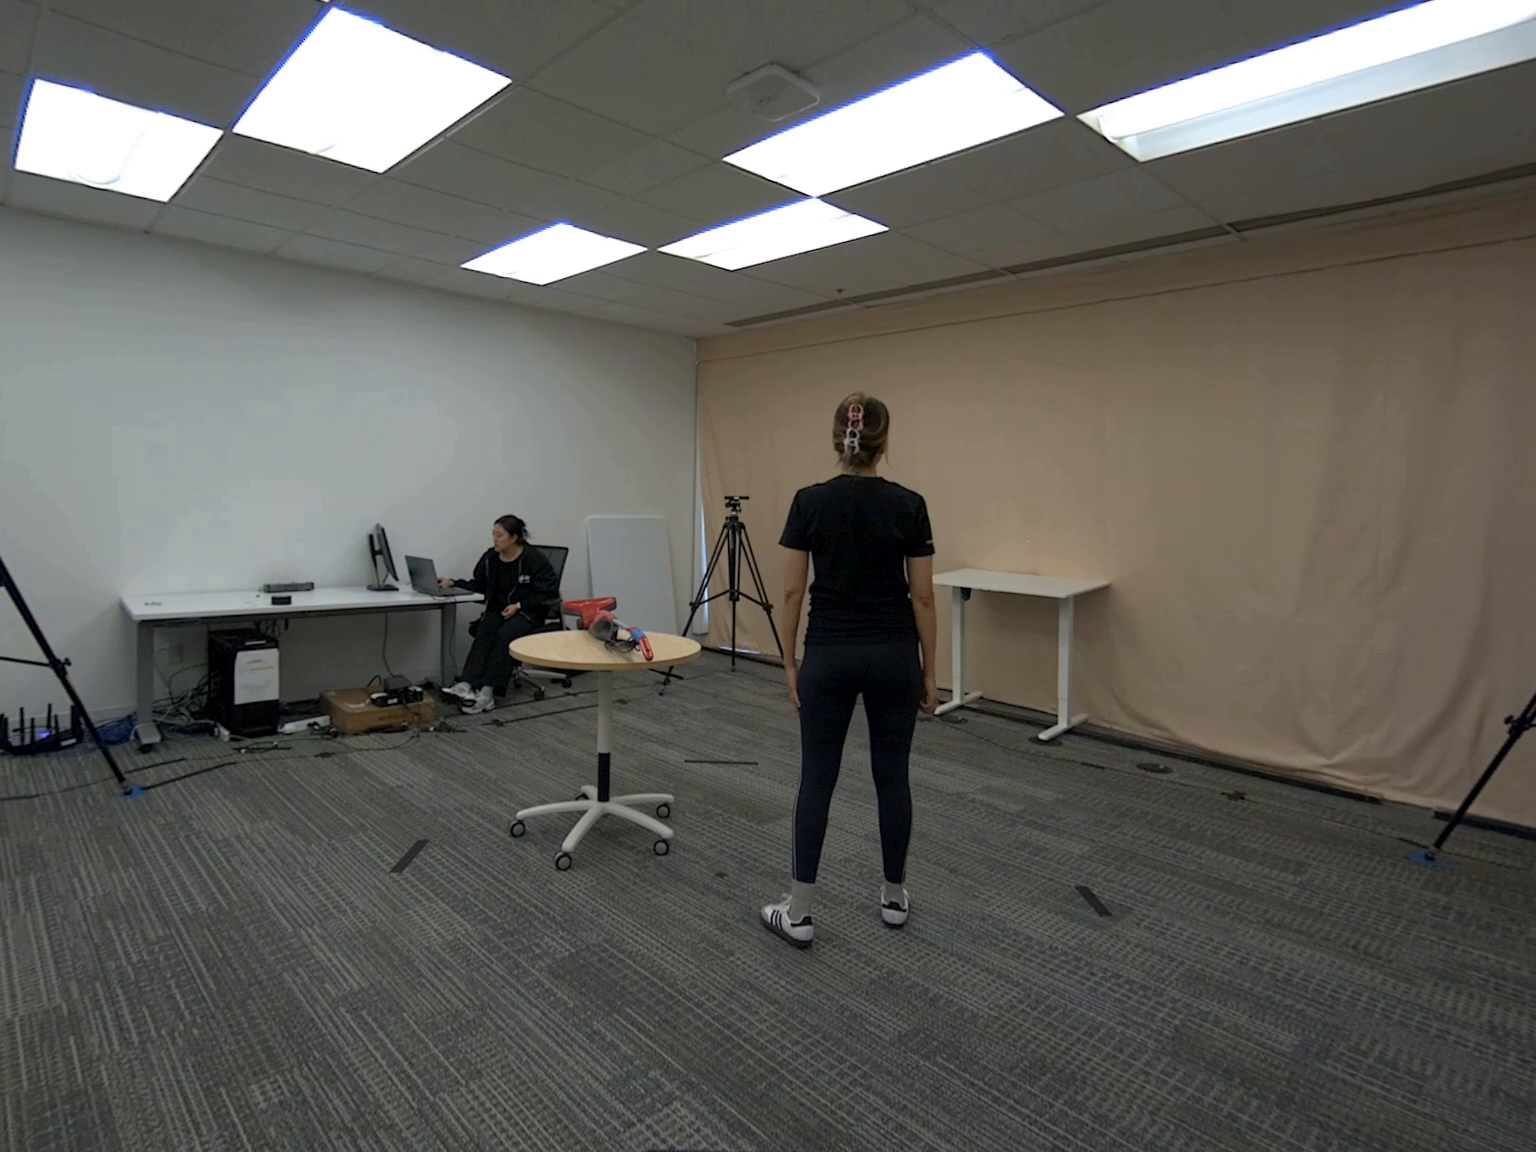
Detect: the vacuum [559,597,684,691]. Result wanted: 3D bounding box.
[{"bbox_3d":[-0.614,0.237,3.339,0.249,0.143,1.070,-6,8,-21],"label":"vacuum"}]
